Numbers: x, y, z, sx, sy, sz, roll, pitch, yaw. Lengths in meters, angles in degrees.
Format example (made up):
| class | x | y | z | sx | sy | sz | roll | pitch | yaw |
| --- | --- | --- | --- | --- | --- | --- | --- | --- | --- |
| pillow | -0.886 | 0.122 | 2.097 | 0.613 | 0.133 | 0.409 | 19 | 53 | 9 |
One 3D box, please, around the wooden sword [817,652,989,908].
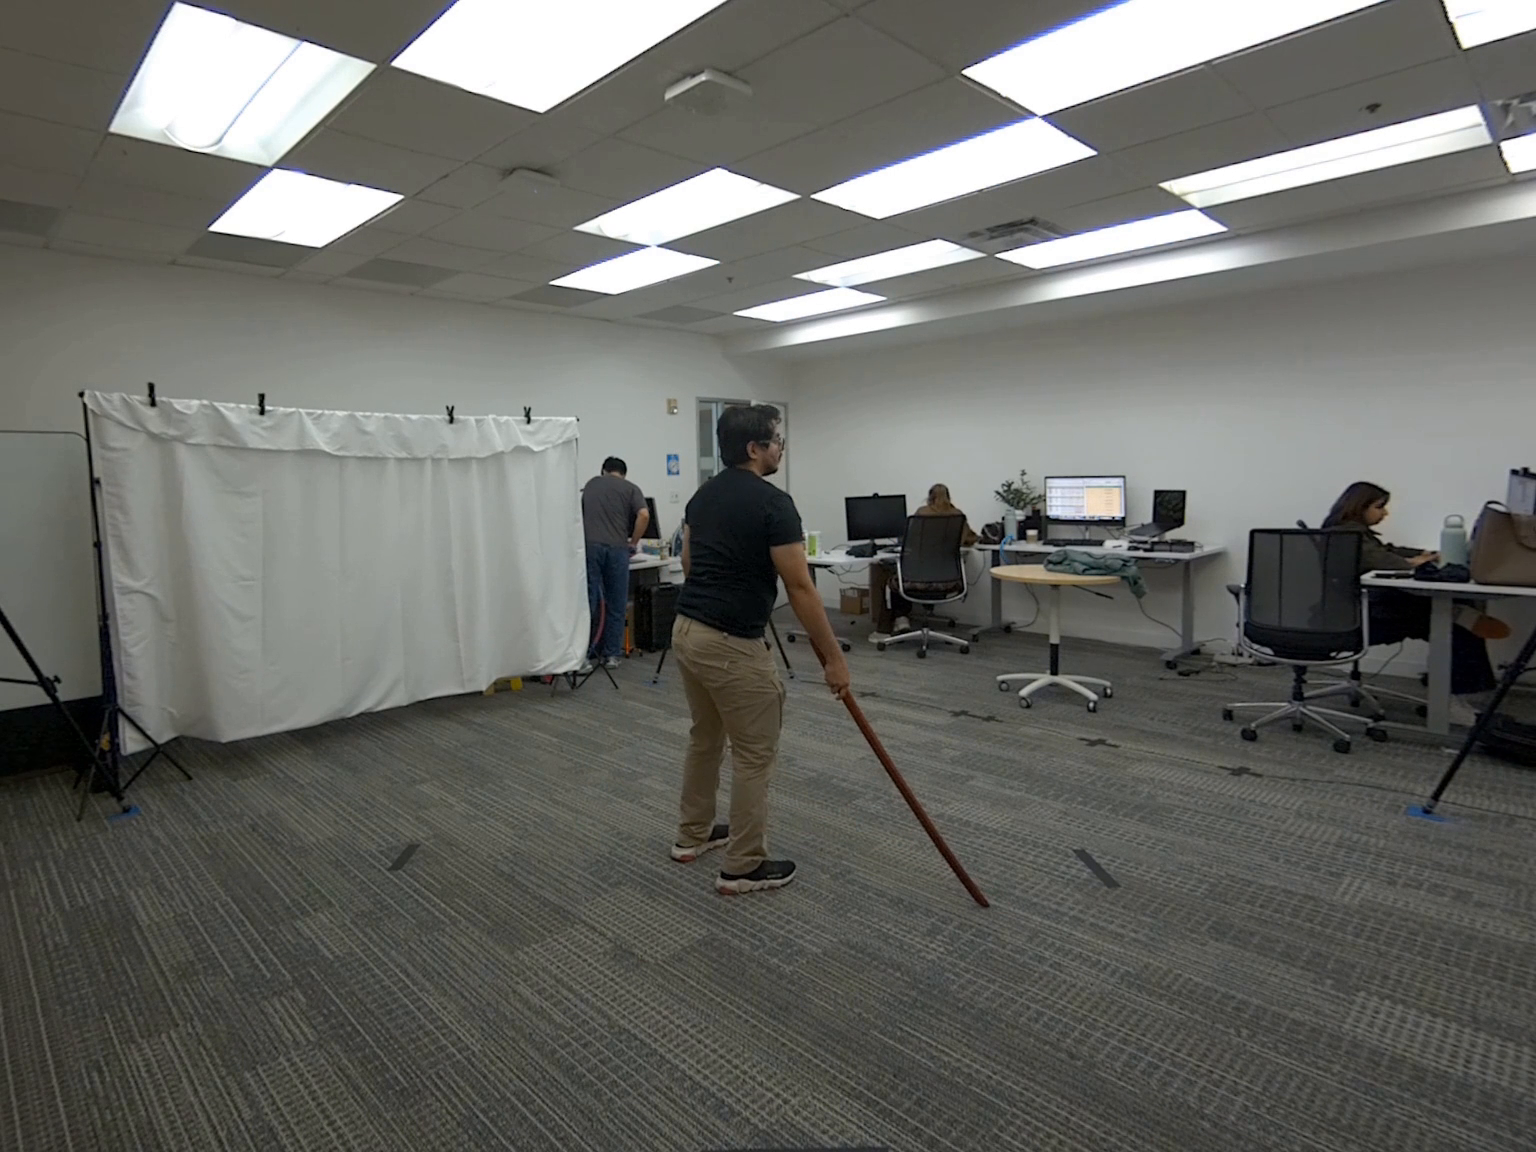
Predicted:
| class | x | y | z | sx | sy | sz | roll | pitch | yaw |
| --- | --- | --- | --- | --- | --- | --- | --- | --- | --- |
| wooden sword | 0.411 | 0.634 | 2.792 | 0.024 | 1.028 | 0.051 | -36 | -3 | 35 |
